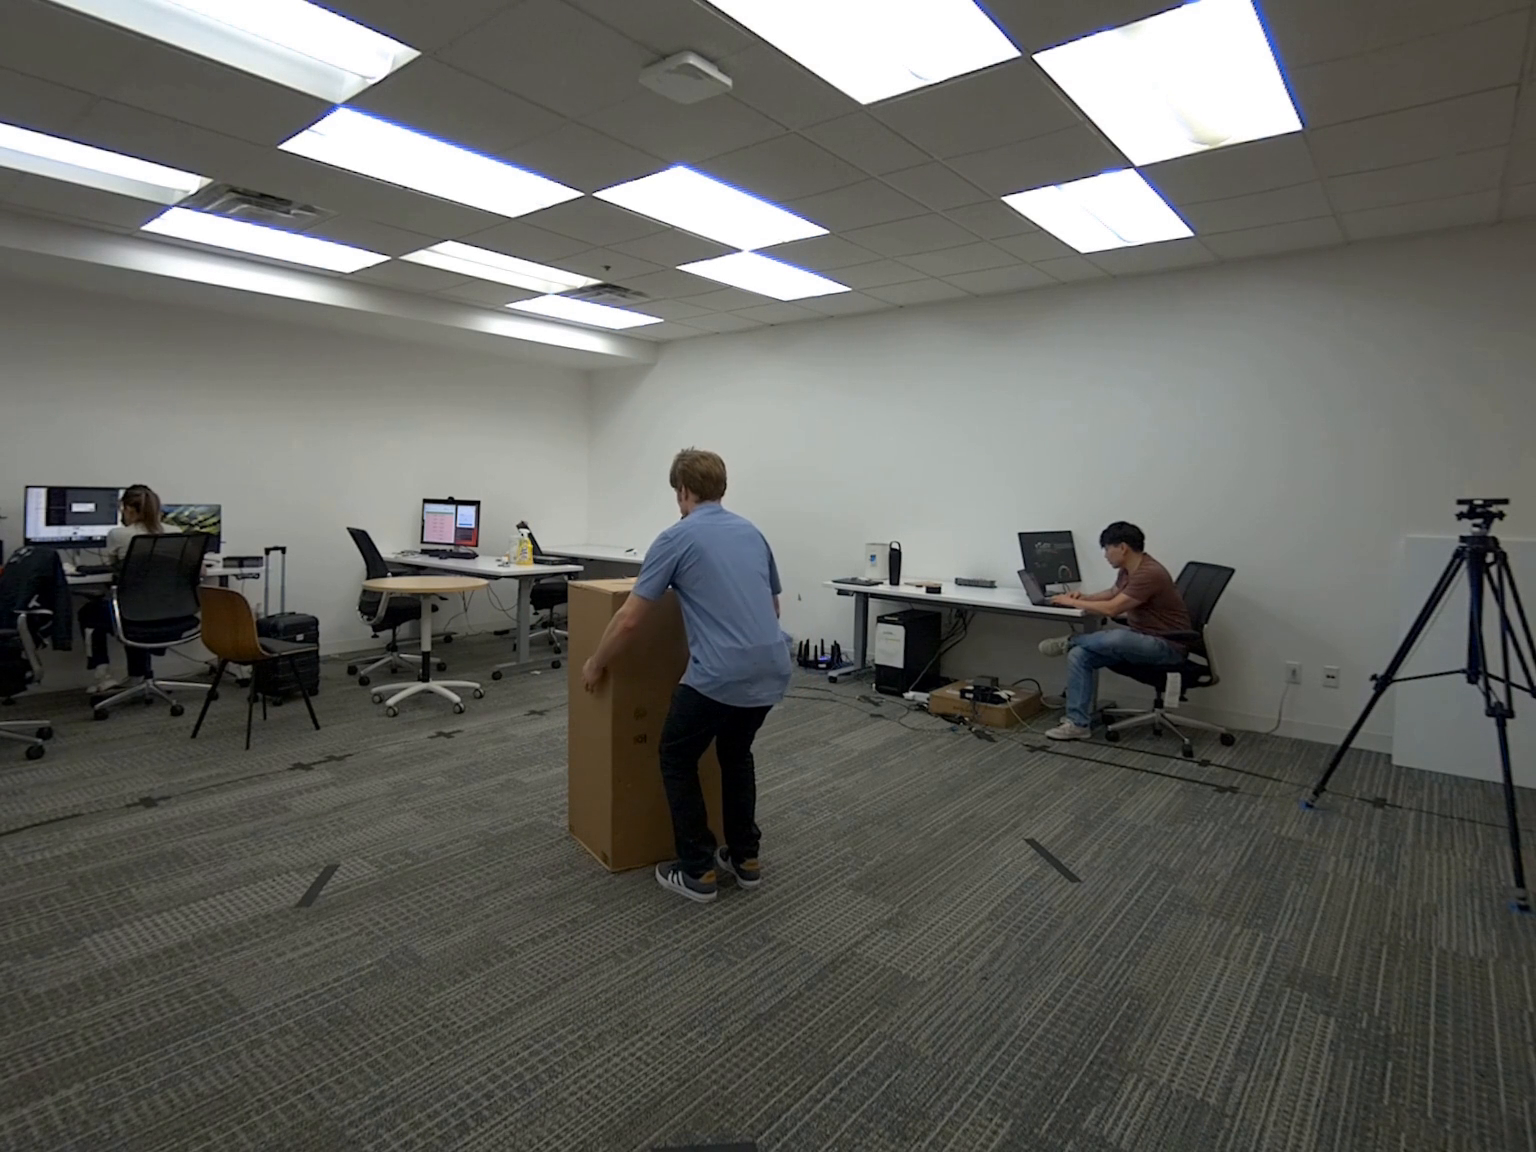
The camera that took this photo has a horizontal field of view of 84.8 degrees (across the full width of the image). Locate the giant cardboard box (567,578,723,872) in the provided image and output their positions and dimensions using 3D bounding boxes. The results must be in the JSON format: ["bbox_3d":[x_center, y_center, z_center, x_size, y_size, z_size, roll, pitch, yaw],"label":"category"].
[{"bbox_3d":[-0.461,0.531,3.360,0.561,1.023,0.440,-1,4,-33],"label":"giant cardboard box"}]
